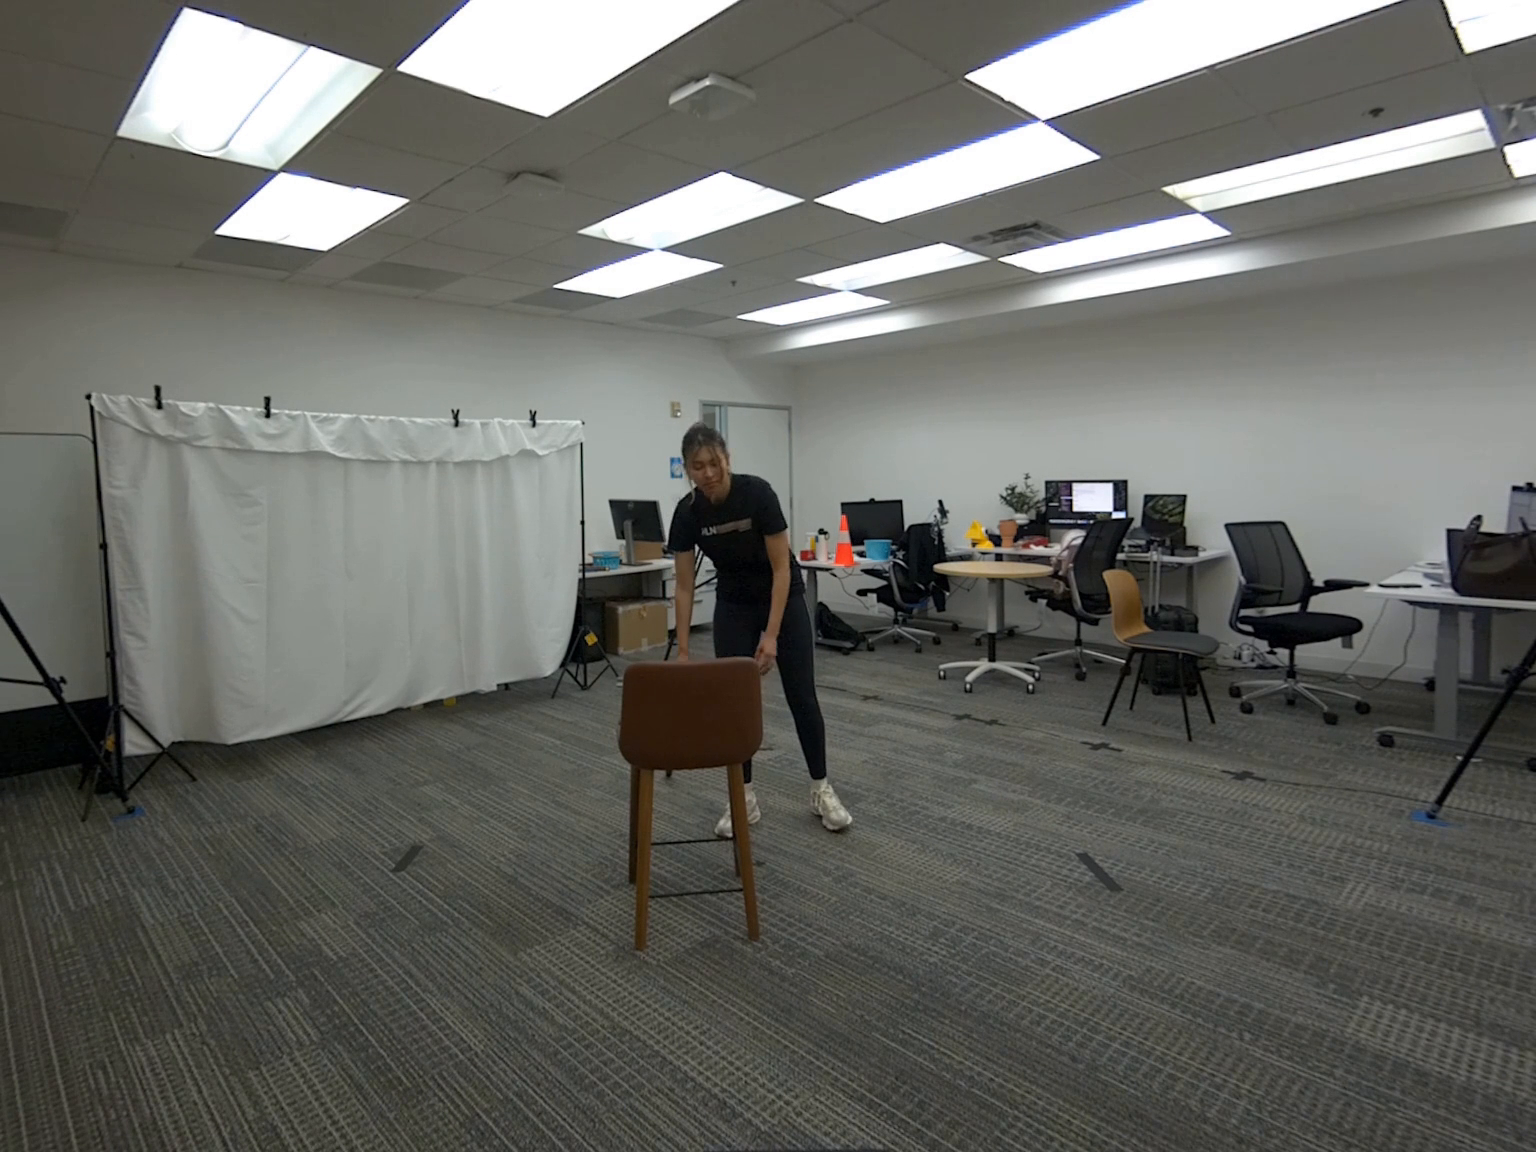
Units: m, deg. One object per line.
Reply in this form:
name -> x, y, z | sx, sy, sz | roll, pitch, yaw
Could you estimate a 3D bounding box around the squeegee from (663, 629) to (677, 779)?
squeegee -> -0.386, 0.644, 3.383 | 0.053, 0.444, 1.517 | 12, -24, -4
